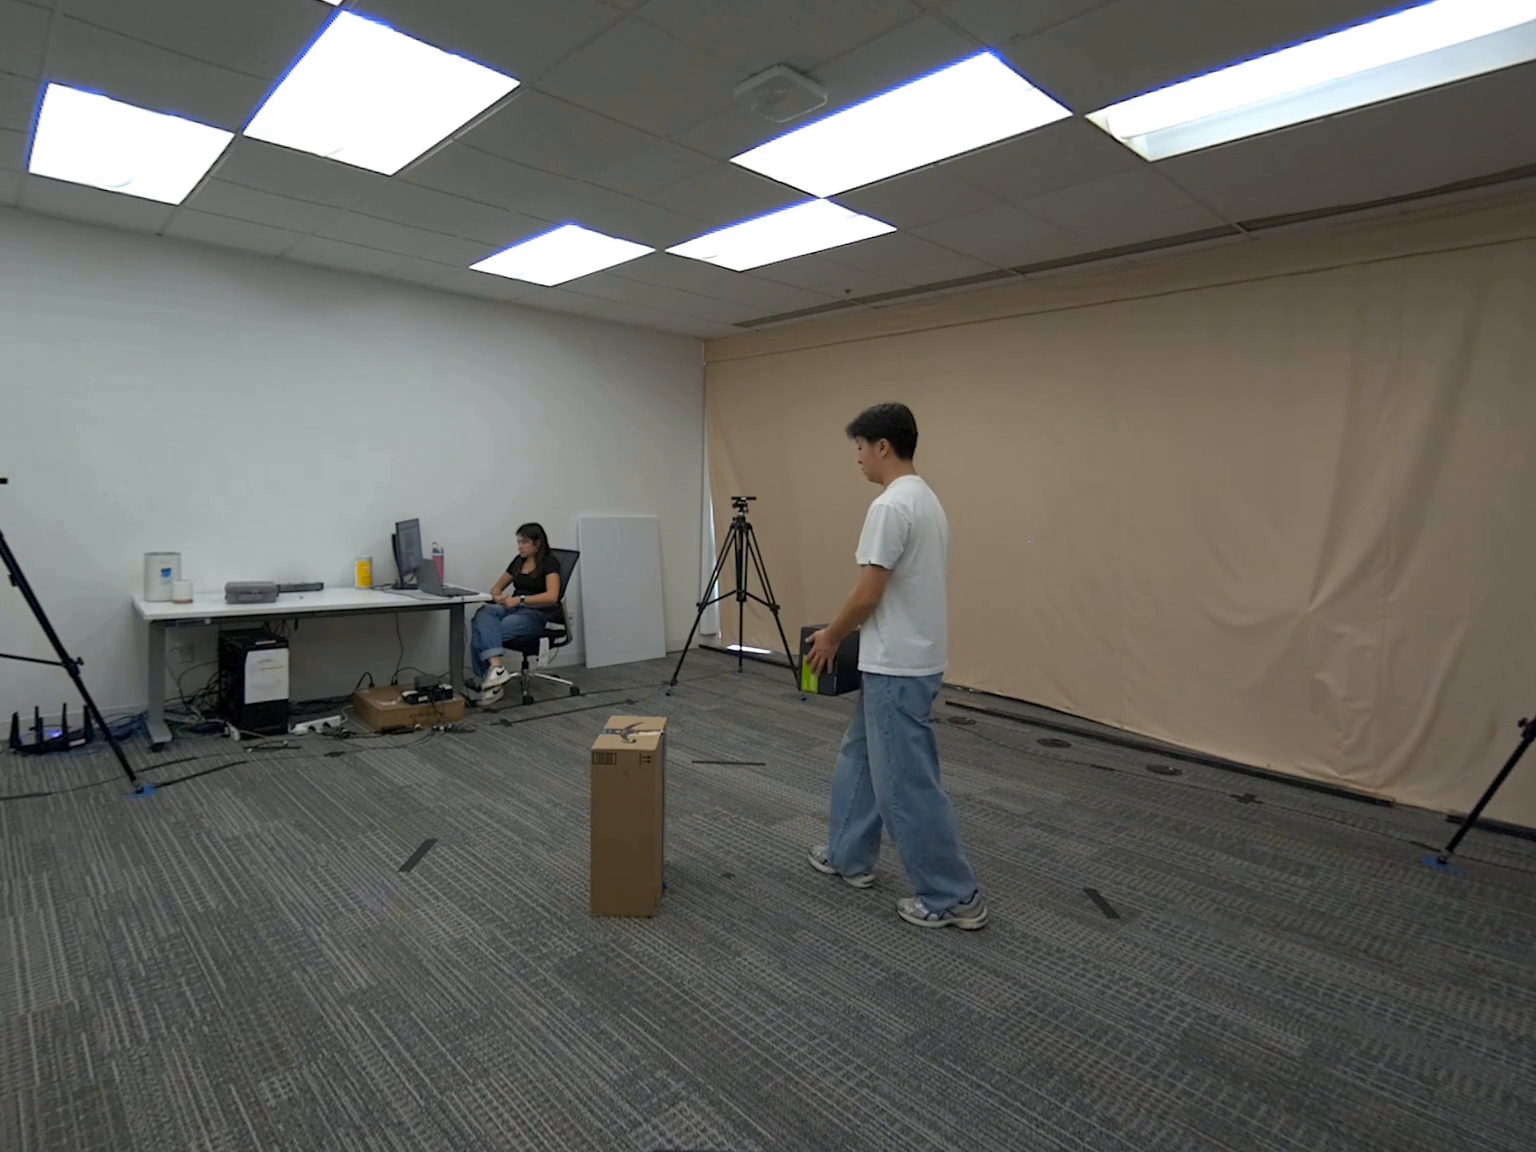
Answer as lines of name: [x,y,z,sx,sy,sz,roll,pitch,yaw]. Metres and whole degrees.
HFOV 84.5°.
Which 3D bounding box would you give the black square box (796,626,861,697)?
black square box: [0.229,0.296,3.071,0.159,0.227,0.212,4,3,31]
